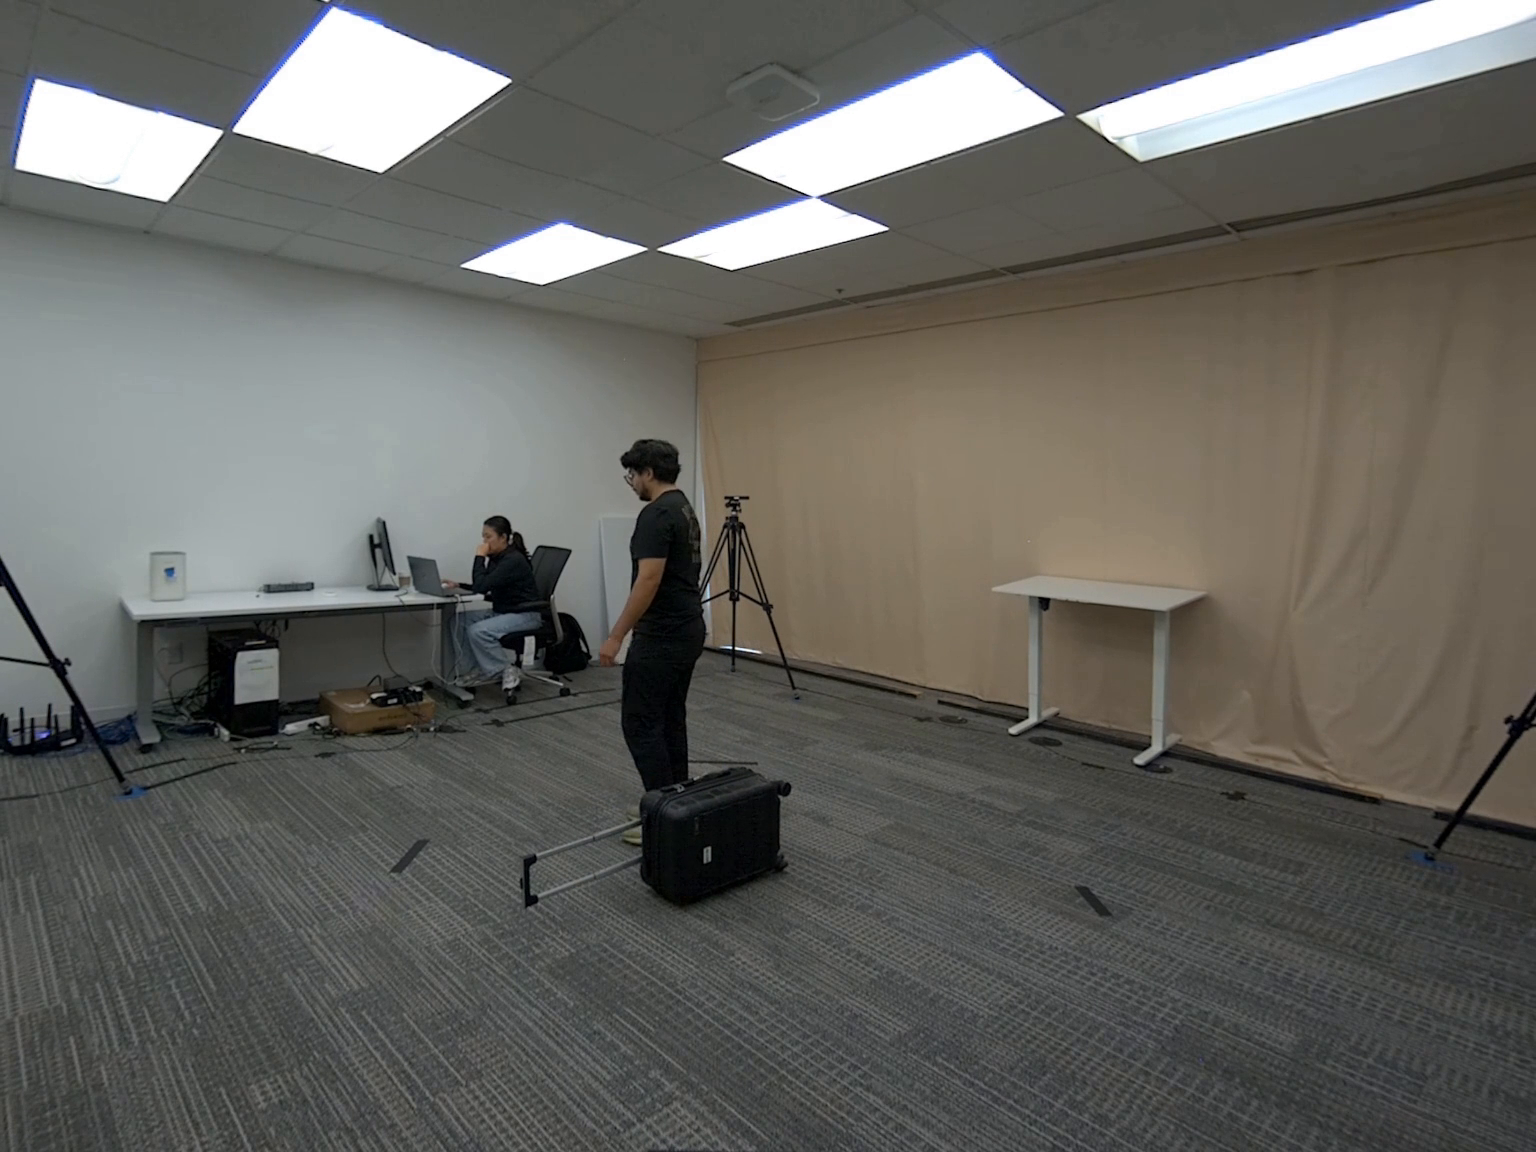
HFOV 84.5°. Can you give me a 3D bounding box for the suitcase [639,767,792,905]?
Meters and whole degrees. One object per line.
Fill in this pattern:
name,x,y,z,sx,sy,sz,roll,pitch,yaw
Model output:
suitcase,-0.345,0.933,2.891,0.957,0.383,0.263,-4,7,-44
